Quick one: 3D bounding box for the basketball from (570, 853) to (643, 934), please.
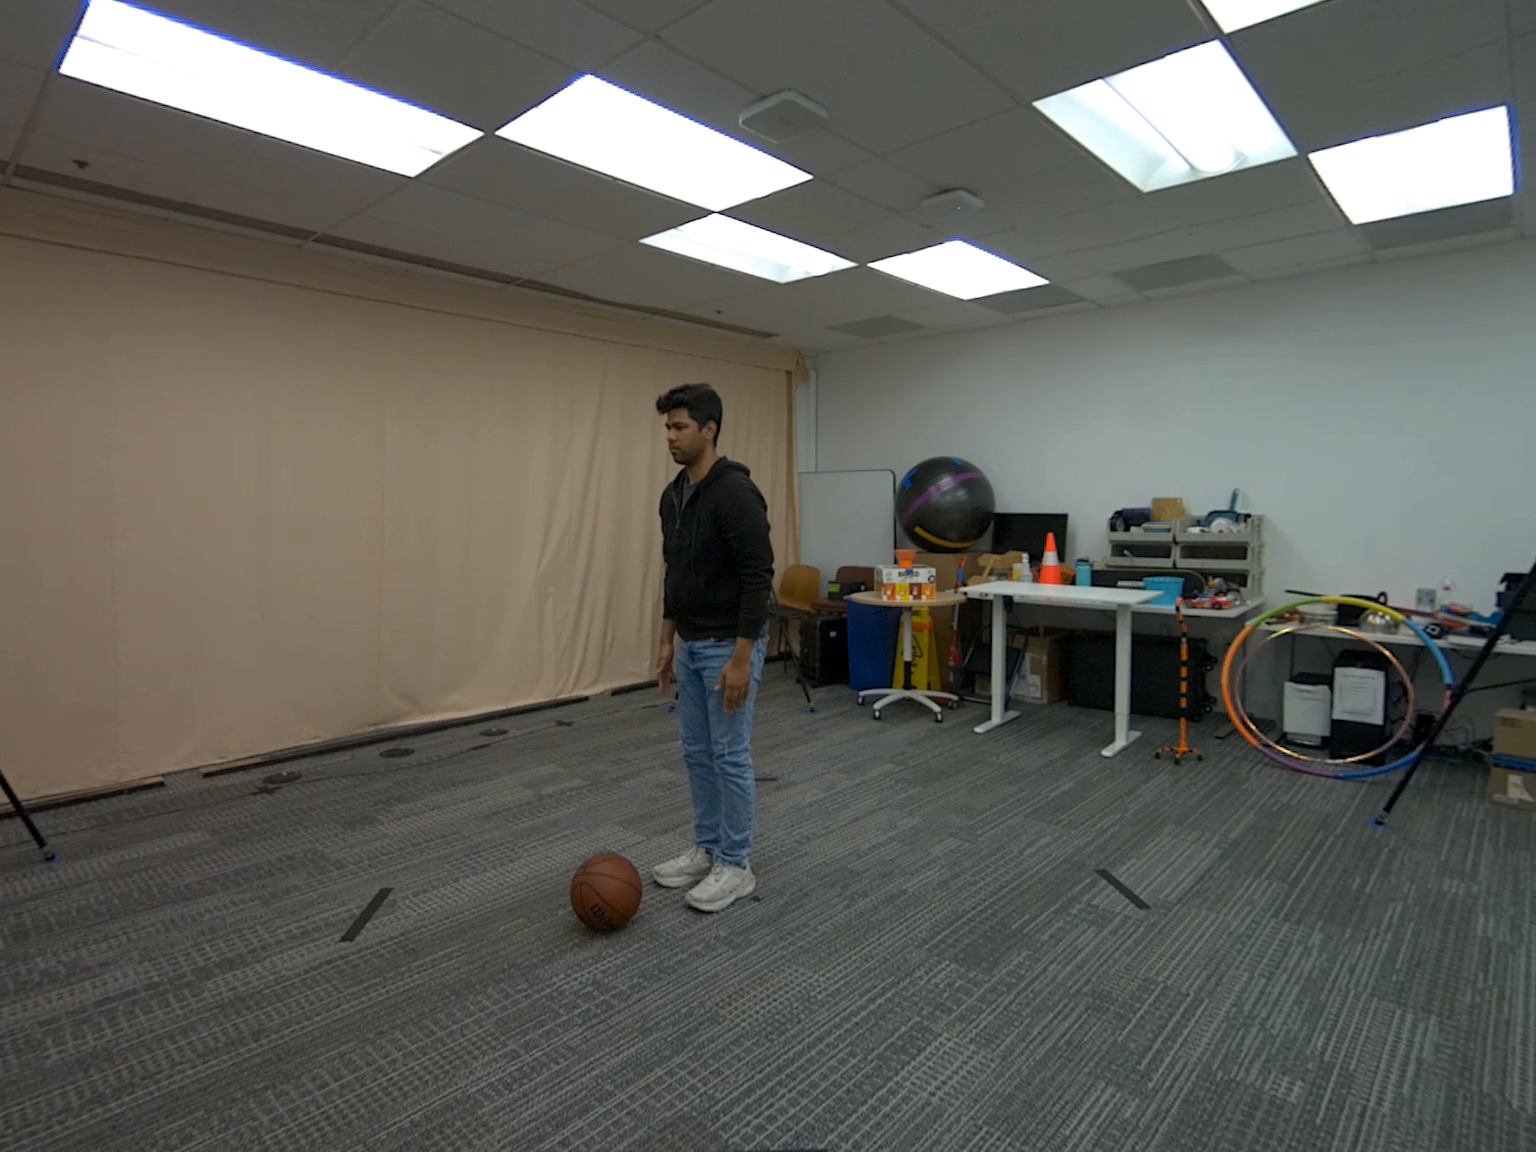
[{"bbox_3d":[-0.538,1.044,2.788,0.236,0.235,0.237,0,4,-2],"label":"basketball"}]
